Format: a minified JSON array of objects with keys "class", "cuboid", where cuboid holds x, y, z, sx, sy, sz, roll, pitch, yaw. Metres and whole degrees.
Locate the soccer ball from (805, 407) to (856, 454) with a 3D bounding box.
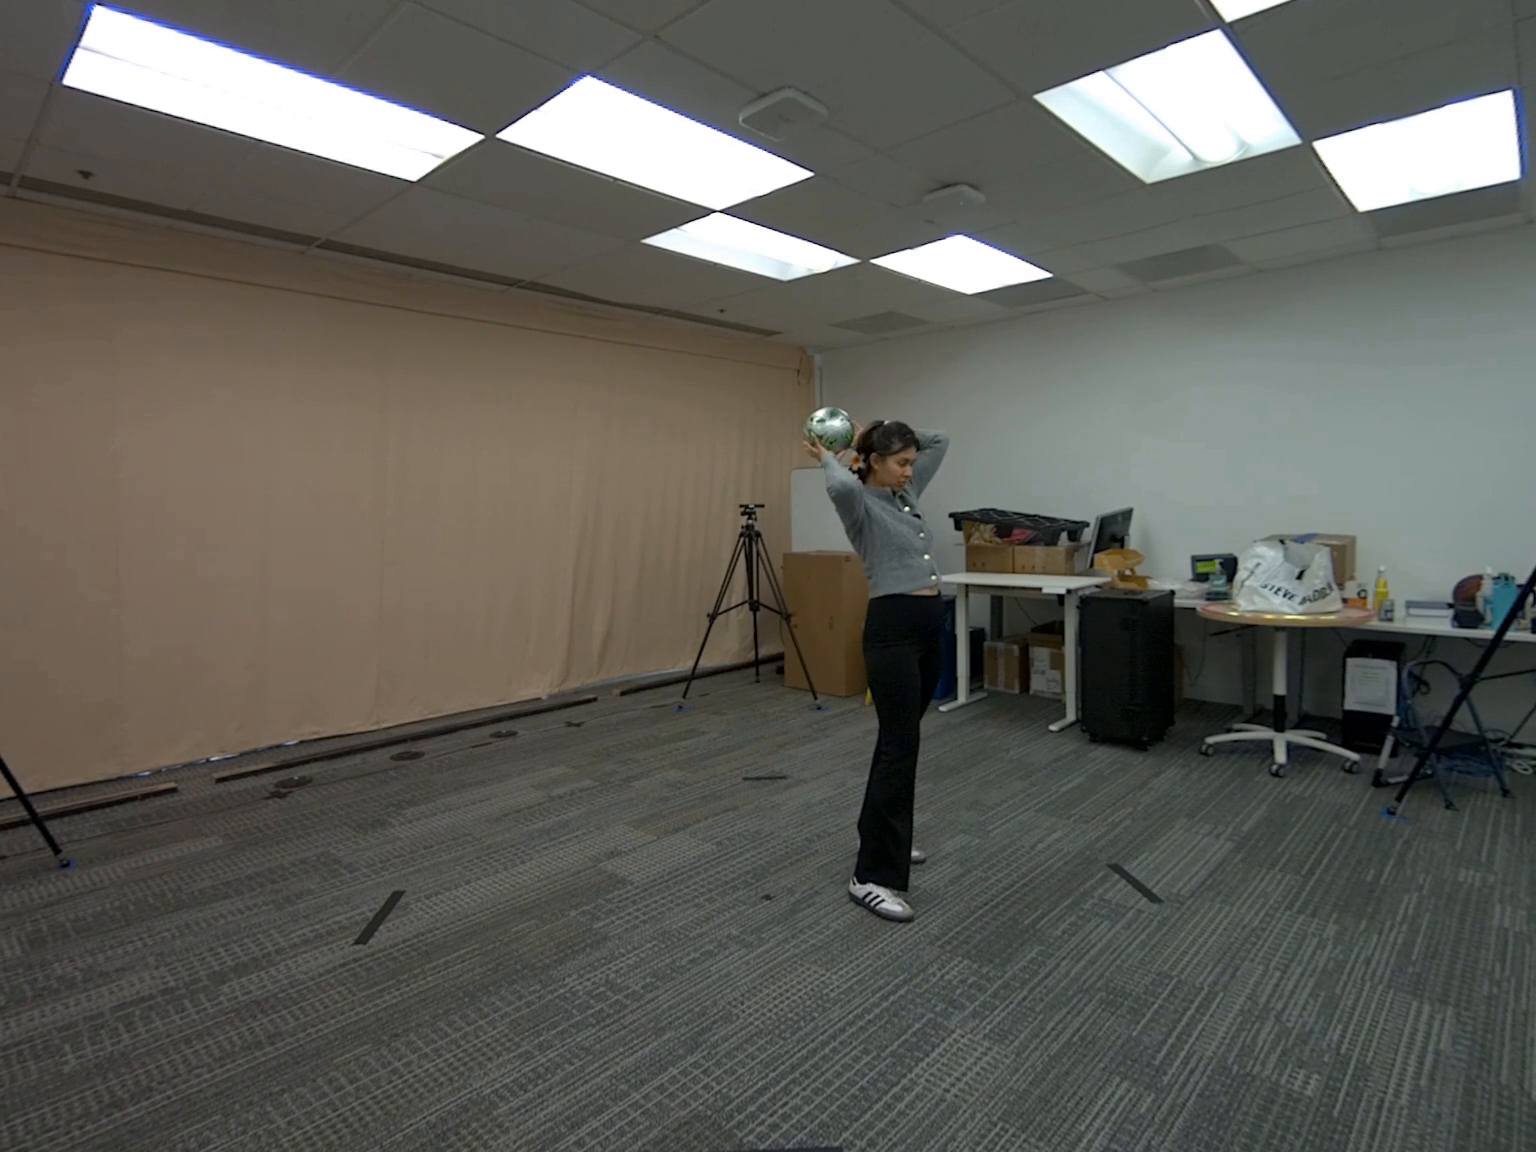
[{"class":"soccer ball","cuboid":[0.232,-0.525,3.133,0.187,0.187,0.188,-1,4,-2]}]
